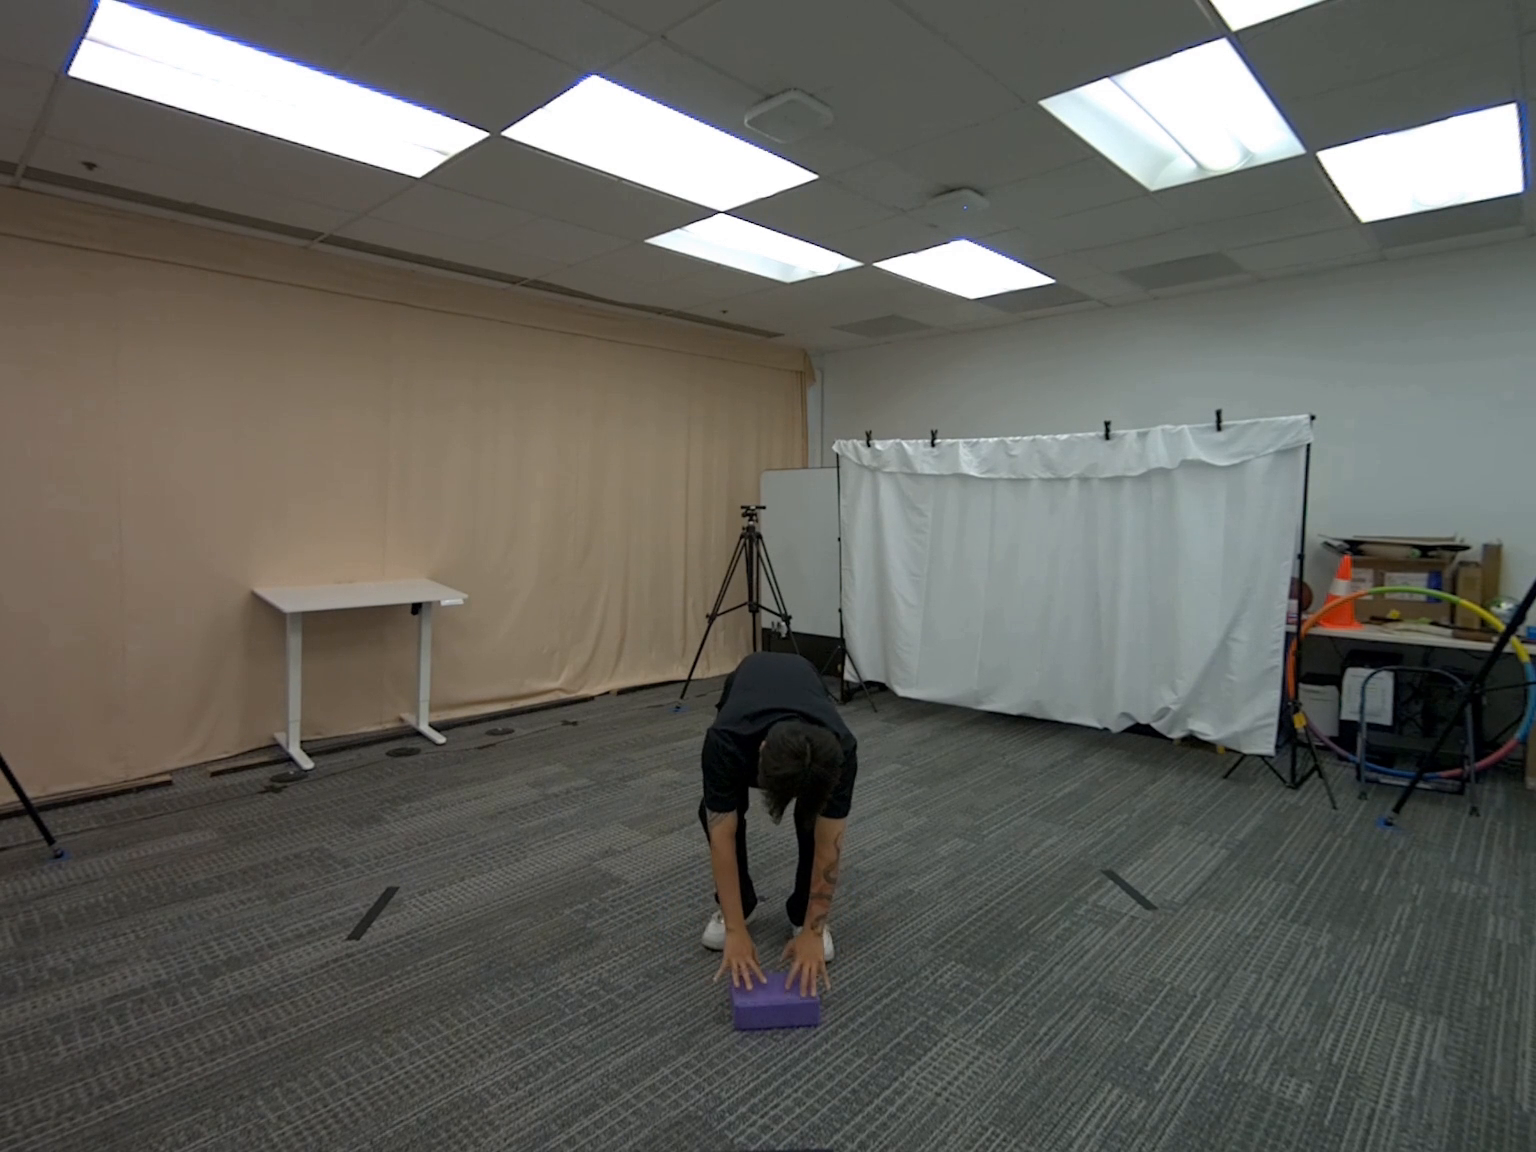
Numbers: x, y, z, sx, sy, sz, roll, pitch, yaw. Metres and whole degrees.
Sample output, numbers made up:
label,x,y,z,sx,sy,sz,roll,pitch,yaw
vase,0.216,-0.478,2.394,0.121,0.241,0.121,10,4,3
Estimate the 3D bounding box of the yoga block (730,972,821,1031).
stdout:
label,x,y,z,sx,sy,sz,roll,pitch,yaw
yoga block,0.013,1.155,2.309,0.228,0.076,0.150,1,5,-6
